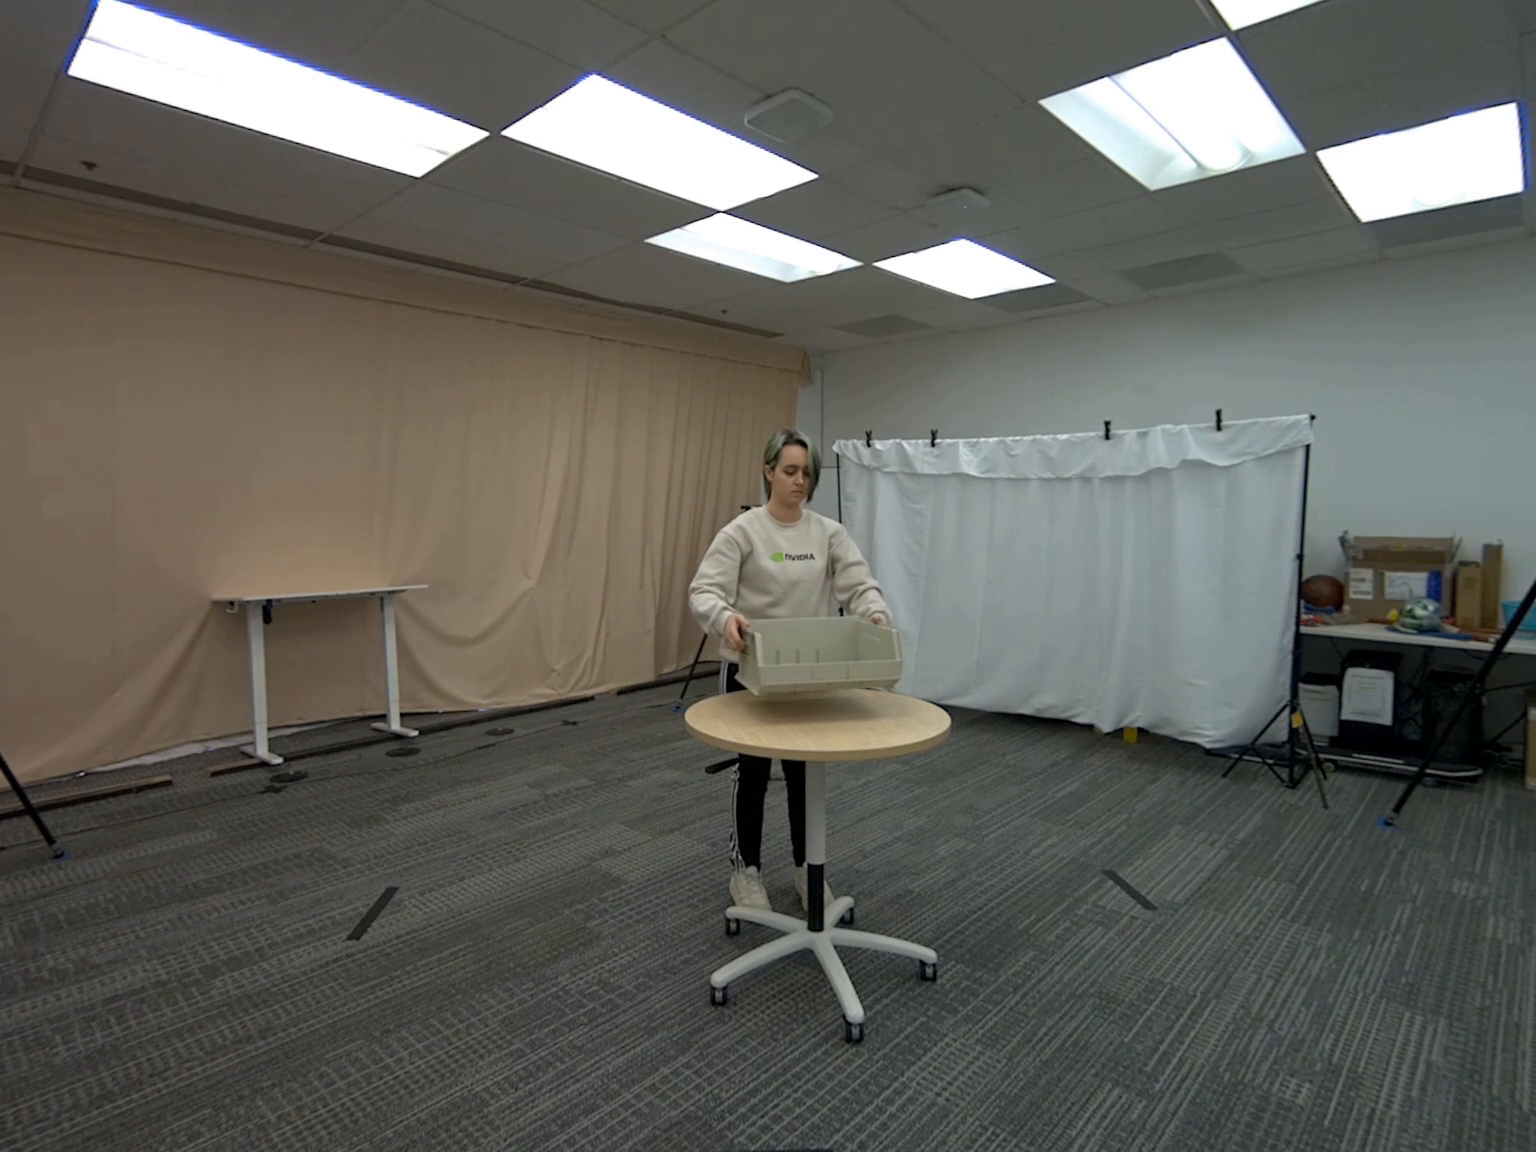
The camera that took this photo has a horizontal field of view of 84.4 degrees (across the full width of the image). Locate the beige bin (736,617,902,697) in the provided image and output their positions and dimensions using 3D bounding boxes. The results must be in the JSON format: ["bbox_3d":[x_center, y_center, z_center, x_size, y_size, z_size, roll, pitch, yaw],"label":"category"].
[{"bbox_3d":[0.135,0.232,2.502,0.418,0.189,0.382,-2,2,-11],"label":"beige bin"}]
